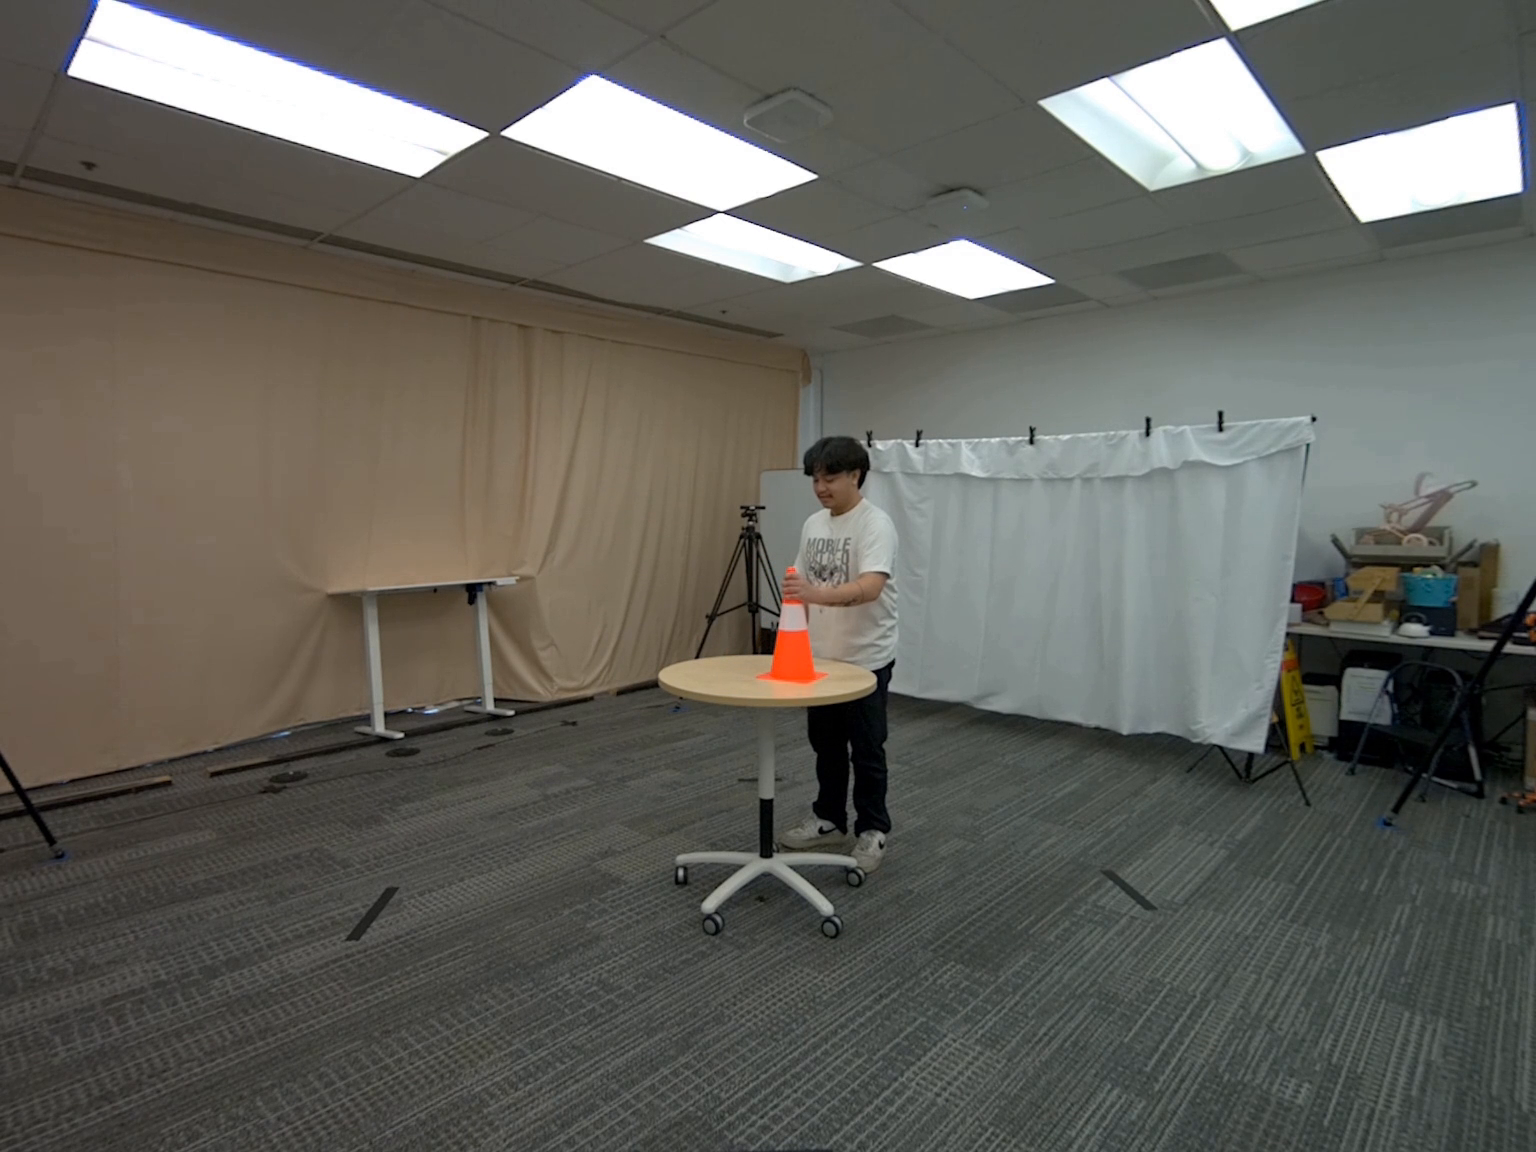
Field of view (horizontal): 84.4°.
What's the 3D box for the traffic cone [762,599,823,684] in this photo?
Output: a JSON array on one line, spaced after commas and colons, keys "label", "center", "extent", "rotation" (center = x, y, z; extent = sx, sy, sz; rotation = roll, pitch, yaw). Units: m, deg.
[{"label": "traffic cone", "center": [0.088, 0.164, 2.940], "extent": [0.210, 0.383, 0.198], "rotation": [1, 2, 27]}]
